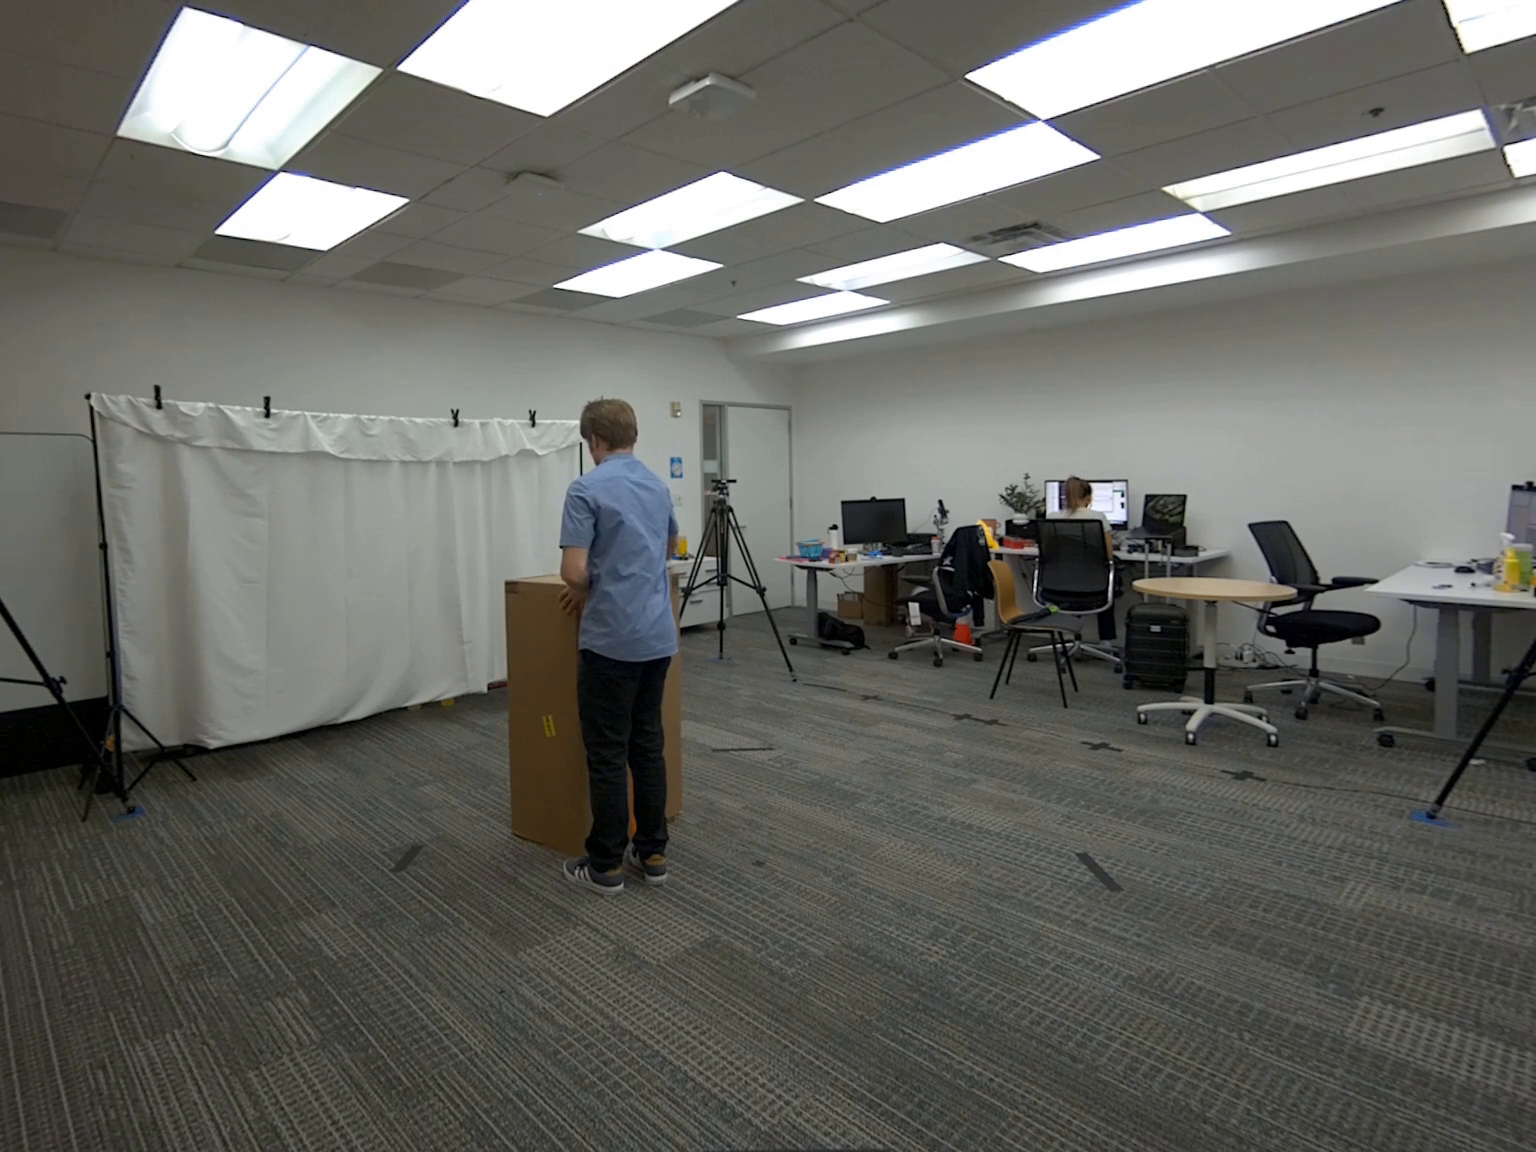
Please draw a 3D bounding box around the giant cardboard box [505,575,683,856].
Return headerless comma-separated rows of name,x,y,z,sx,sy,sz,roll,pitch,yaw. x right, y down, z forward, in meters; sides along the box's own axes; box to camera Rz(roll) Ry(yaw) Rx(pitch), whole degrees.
giant cardboard box,-0.702,0.509,3.496,0.439,1.023,0.562,2,4,38
